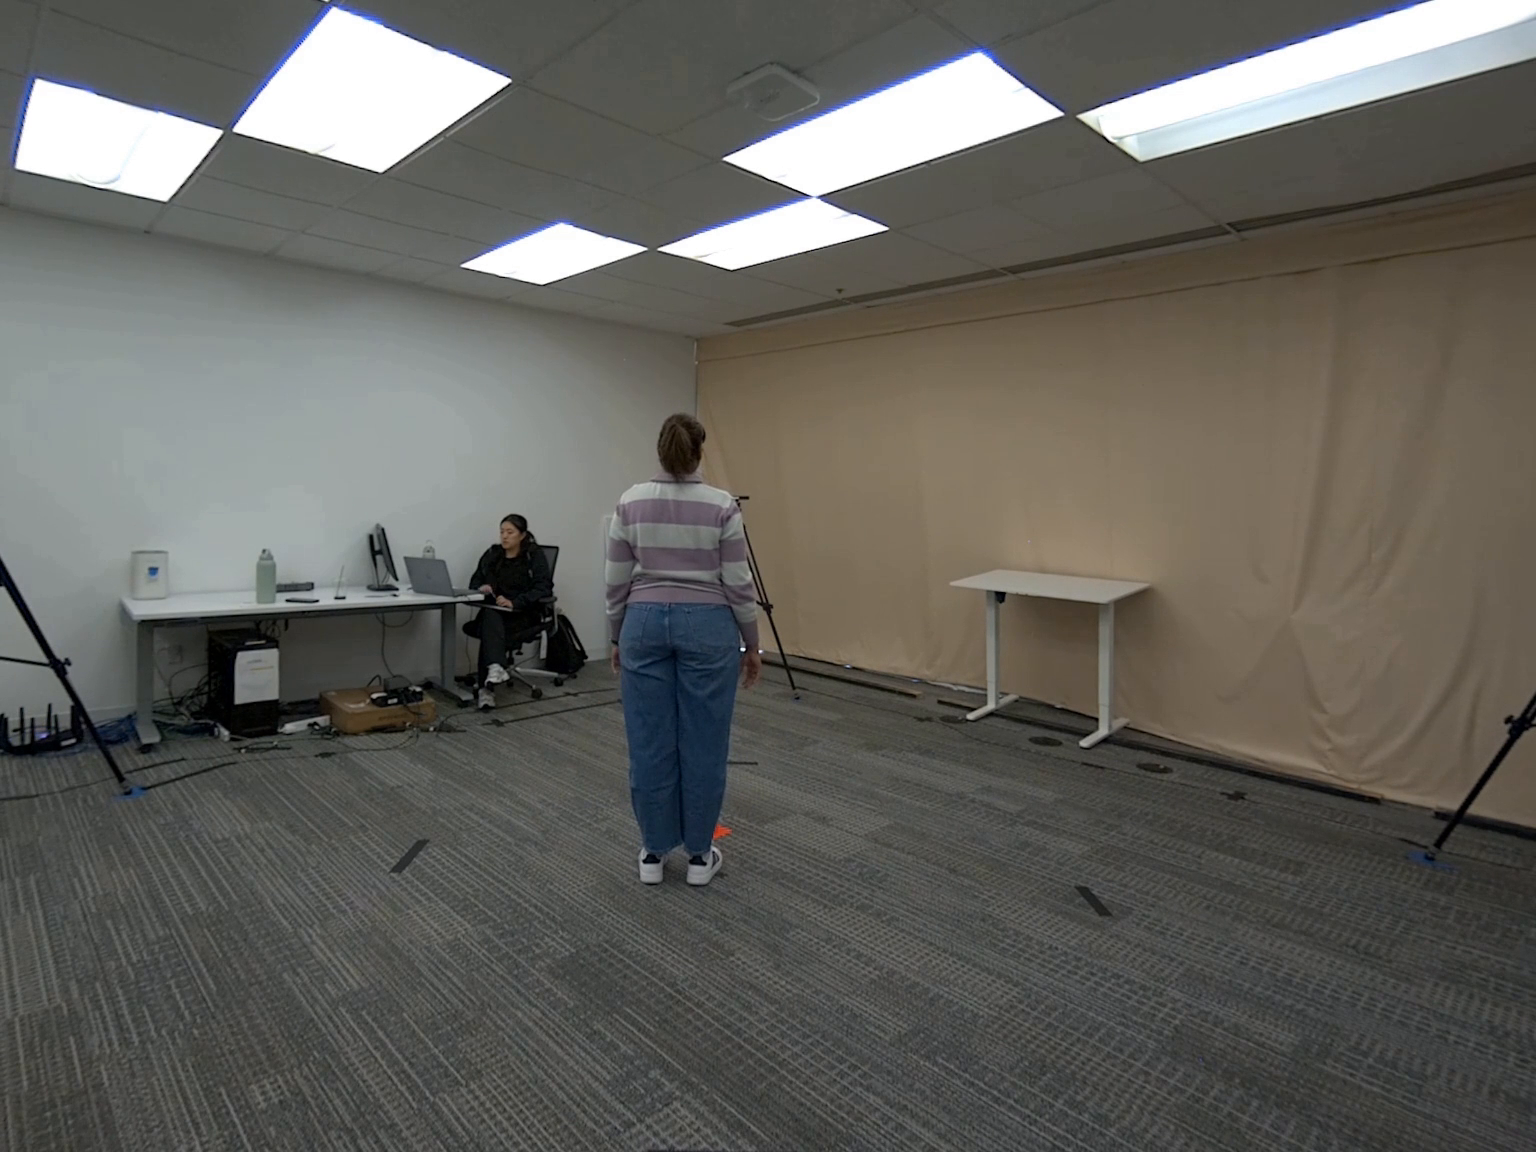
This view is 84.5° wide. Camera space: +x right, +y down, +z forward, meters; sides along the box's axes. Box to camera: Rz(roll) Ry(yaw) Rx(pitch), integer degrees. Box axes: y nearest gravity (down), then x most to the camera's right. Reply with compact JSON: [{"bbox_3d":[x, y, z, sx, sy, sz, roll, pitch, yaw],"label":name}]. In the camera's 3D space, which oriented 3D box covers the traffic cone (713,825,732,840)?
[{"bbox_3d":[-0.289,0.883,3.505,0.210,0.383,0.199,5,5,42],"label":"traffic cone"}]
